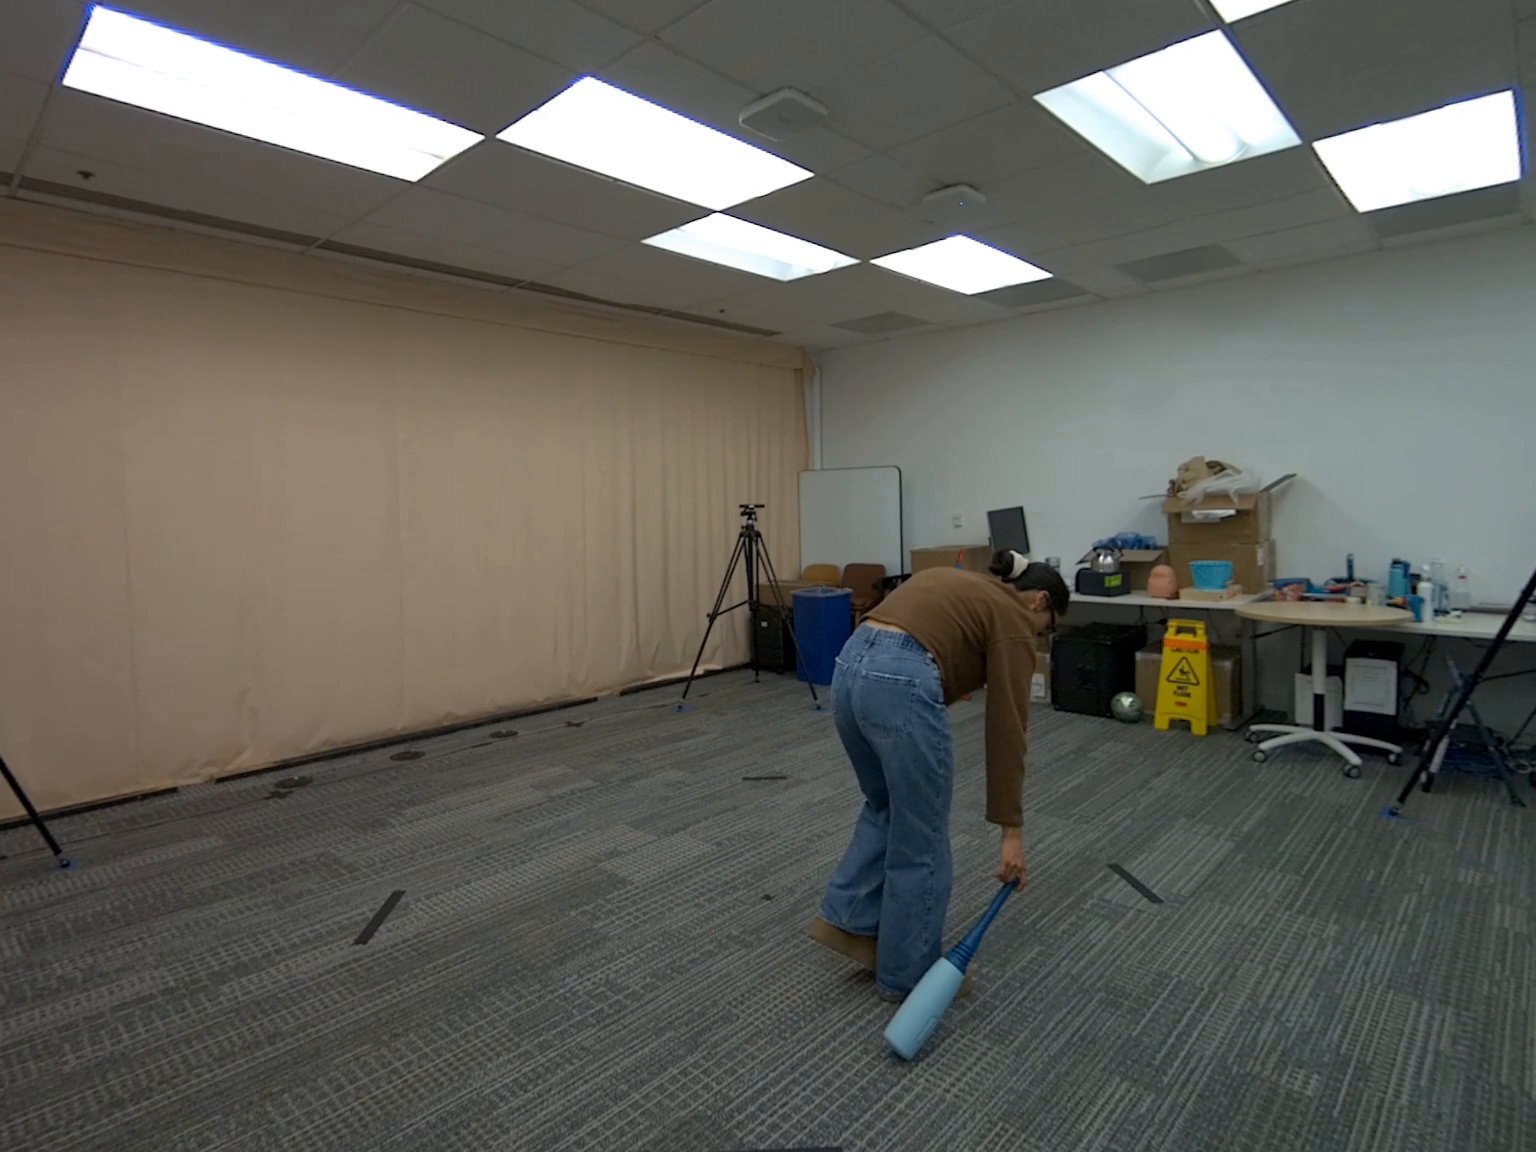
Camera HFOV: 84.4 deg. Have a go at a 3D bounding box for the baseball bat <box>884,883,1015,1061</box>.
[{"bbox_3d":[0.493,0.995,2.183,0.540,0.087,0.091,-47,21,-16],"label":"baseball bat"}]
